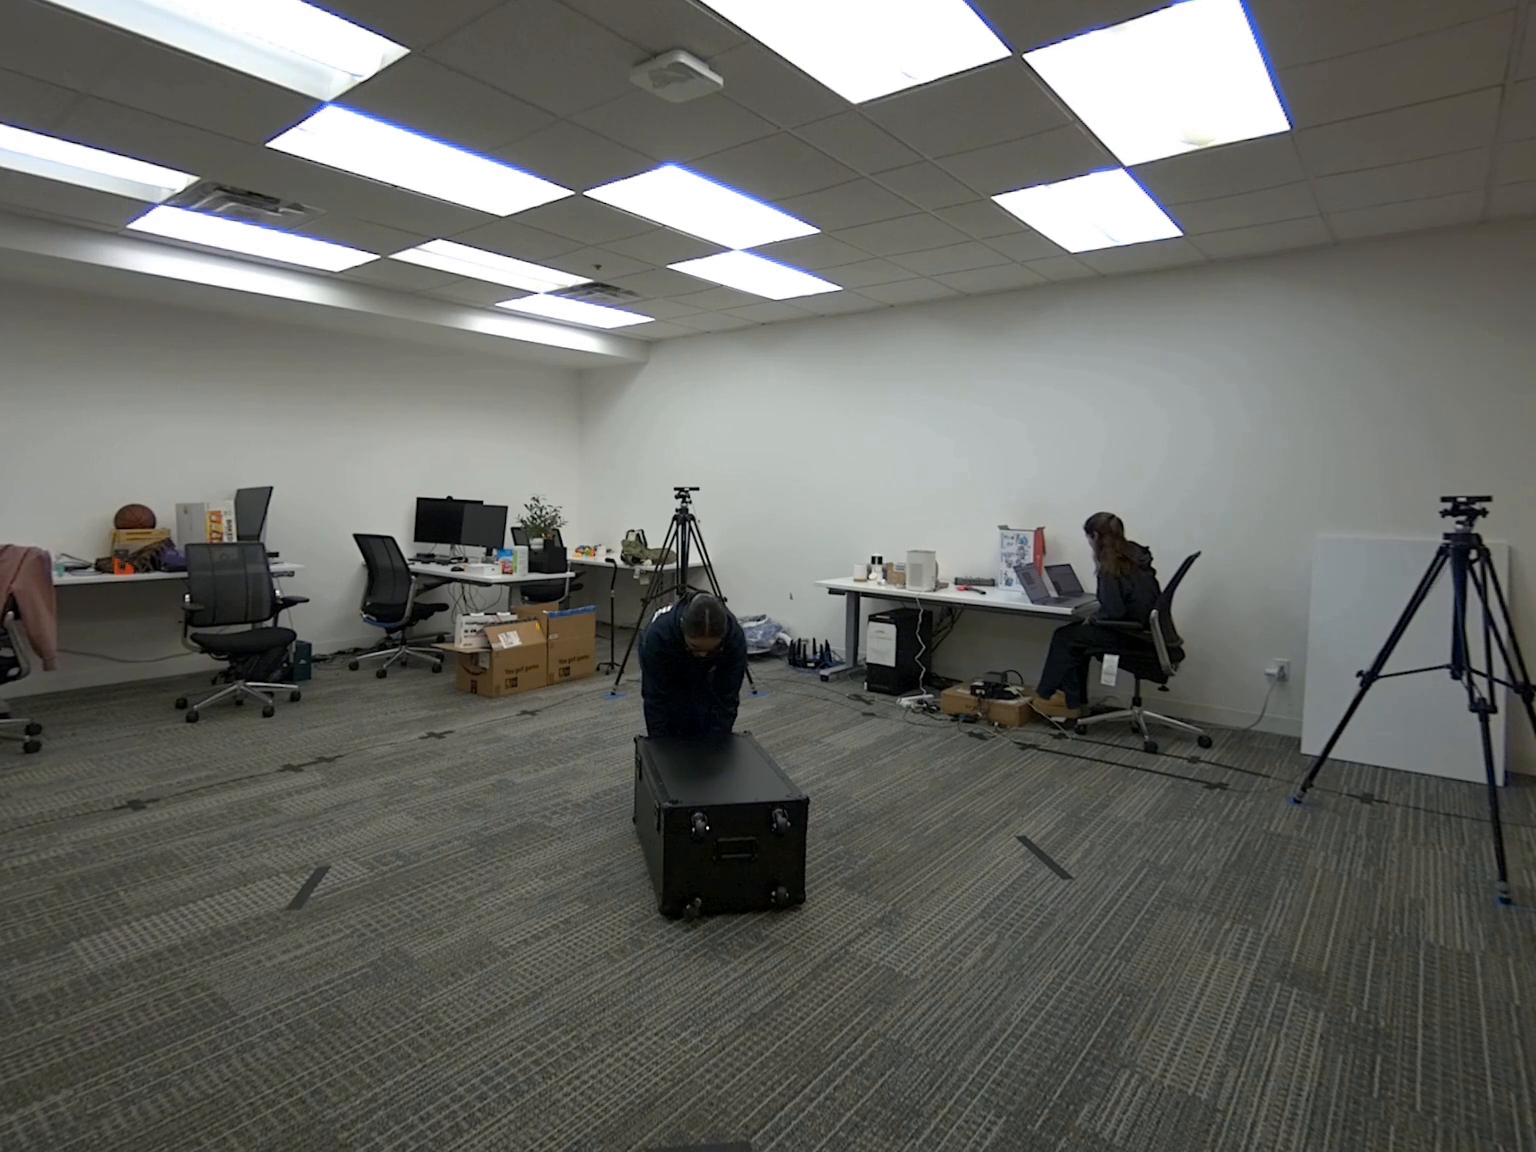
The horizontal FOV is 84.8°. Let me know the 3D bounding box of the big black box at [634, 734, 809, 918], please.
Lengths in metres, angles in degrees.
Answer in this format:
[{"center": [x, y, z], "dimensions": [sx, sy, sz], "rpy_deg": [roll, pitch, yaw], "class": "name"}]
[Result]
[{"center": [-0.210, 0.871, 3.095], "dimensions": [0.513, 0.395, 0.877], "rpy_deg": [0, 4, -15], "class": "big black box"}]
